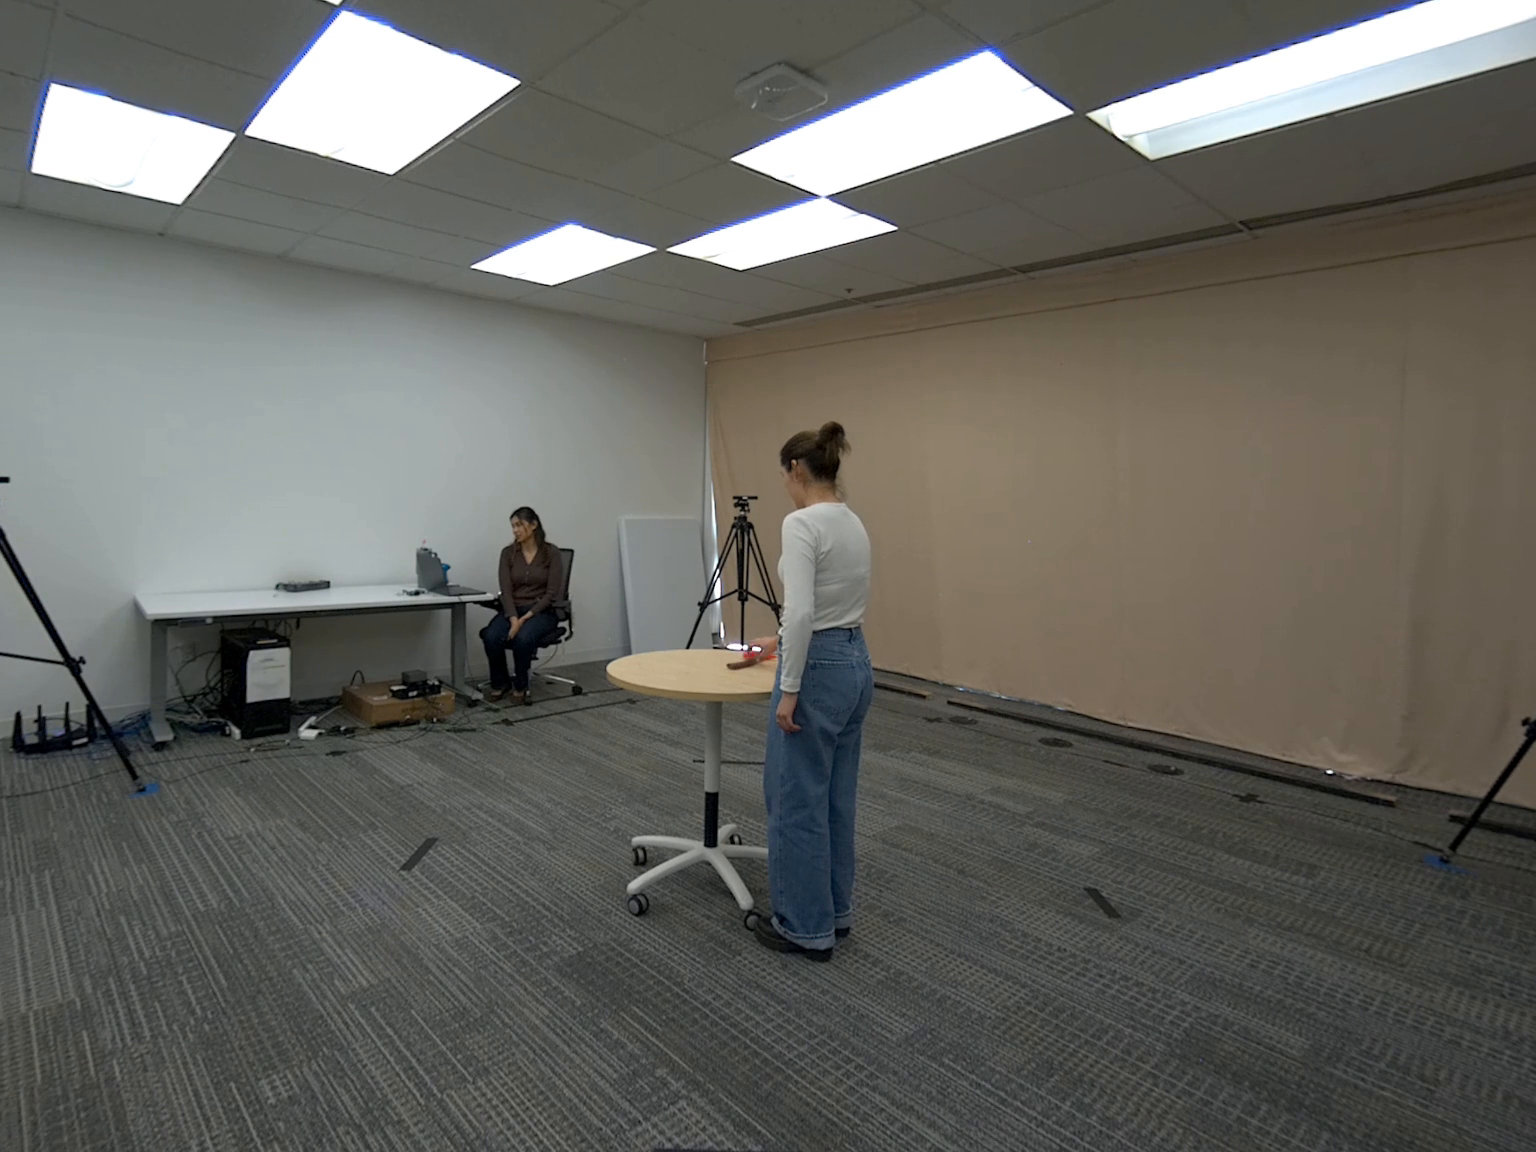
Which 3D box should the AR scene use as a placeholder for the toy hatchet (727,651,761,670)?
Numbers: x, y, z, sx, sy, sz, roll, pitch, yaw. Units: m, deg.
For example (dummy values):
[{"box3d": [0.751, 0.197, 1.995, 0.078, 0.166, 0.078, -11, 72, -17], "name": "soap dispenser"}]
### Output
[{"box3d": [-0.093, 0.307, 3.099, 0.134, 0.029, 0.264, 11, 10, 35], "name": "toy hatchet"}]
